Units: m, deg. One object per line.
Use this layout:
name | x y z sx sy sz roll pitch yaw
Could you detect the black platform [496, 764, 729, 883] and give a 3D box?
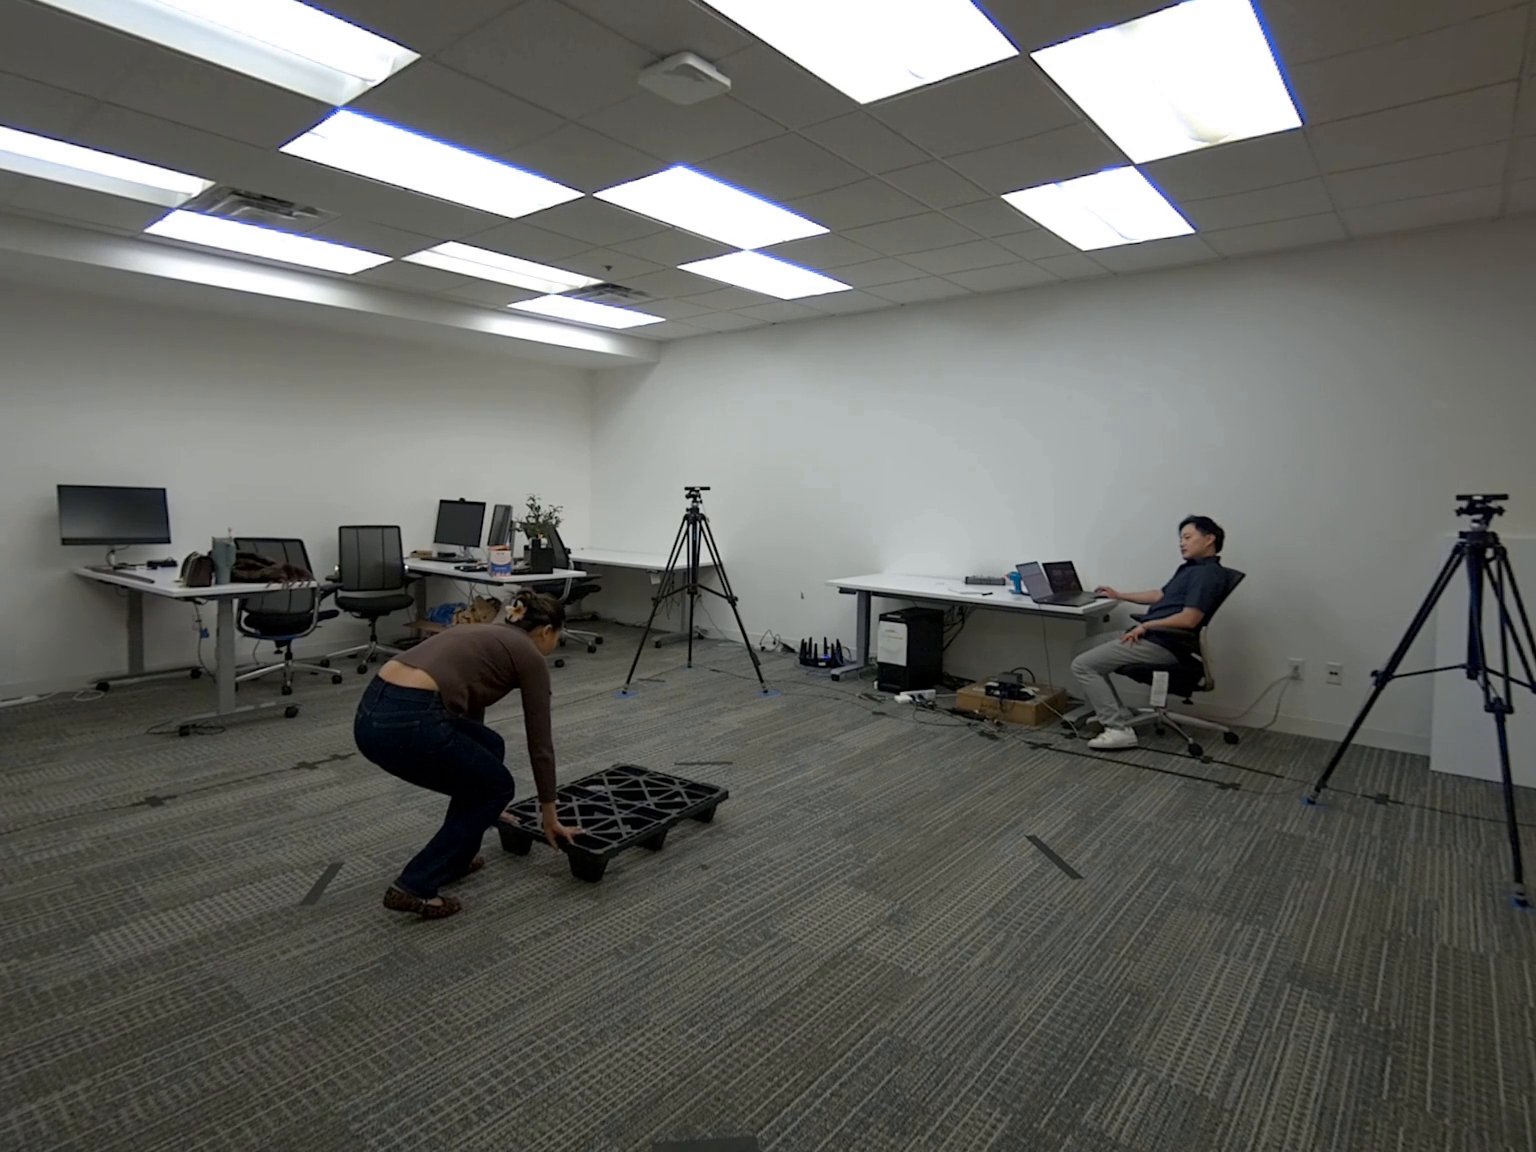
black platform | -0.631 0.963 3.401 0.624 0.143 0.784 3 6 33
